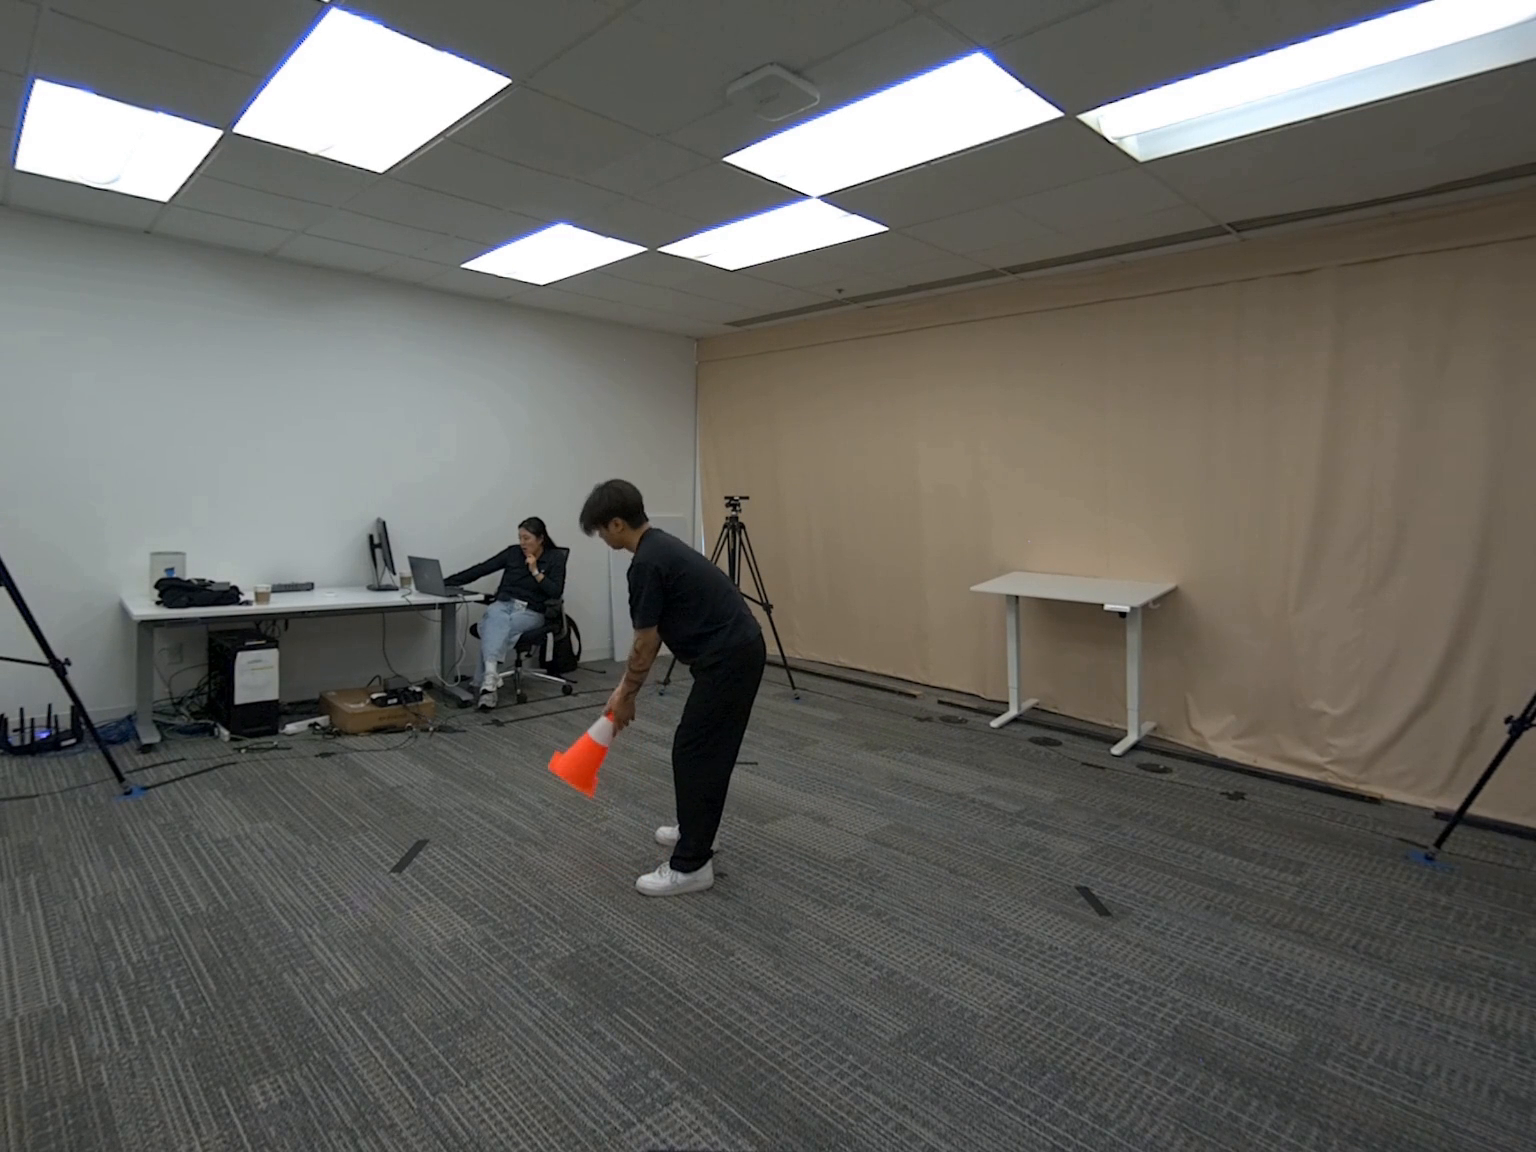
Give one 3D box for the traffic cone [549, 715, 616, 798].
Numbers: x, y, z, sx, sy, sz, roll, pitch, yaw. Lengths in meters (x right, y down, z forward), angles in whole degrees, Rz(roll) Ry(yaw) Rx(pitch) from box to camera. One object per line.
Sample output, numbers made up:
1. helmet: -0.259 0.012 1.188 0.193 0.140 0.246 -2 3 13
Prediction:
1. traffic cone: -0.638 0.591 3.156 0.203 0.383 0.205 37 4 -2
